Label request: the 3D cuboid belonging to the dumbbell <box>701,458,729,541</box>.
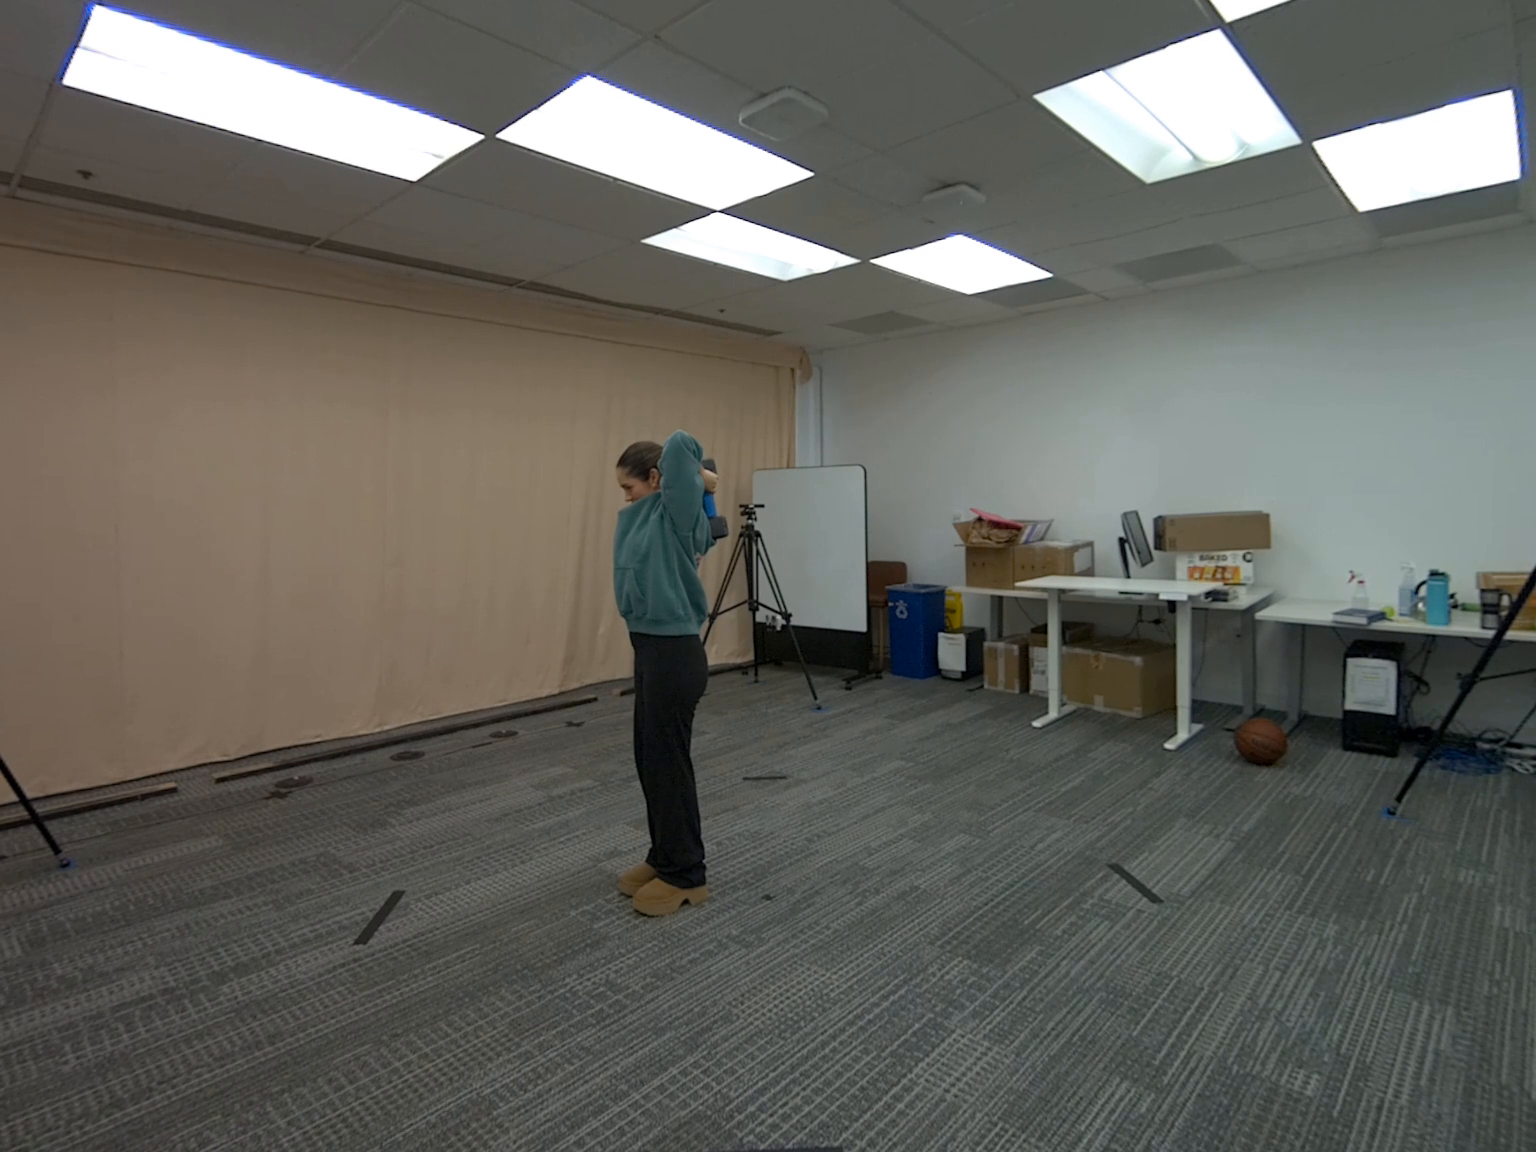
[{"bbox_3d":[-0.223,-0.274,3.017,0.120,0.293,0.111,-15,4,-27],"label":"dumbbell"}]
